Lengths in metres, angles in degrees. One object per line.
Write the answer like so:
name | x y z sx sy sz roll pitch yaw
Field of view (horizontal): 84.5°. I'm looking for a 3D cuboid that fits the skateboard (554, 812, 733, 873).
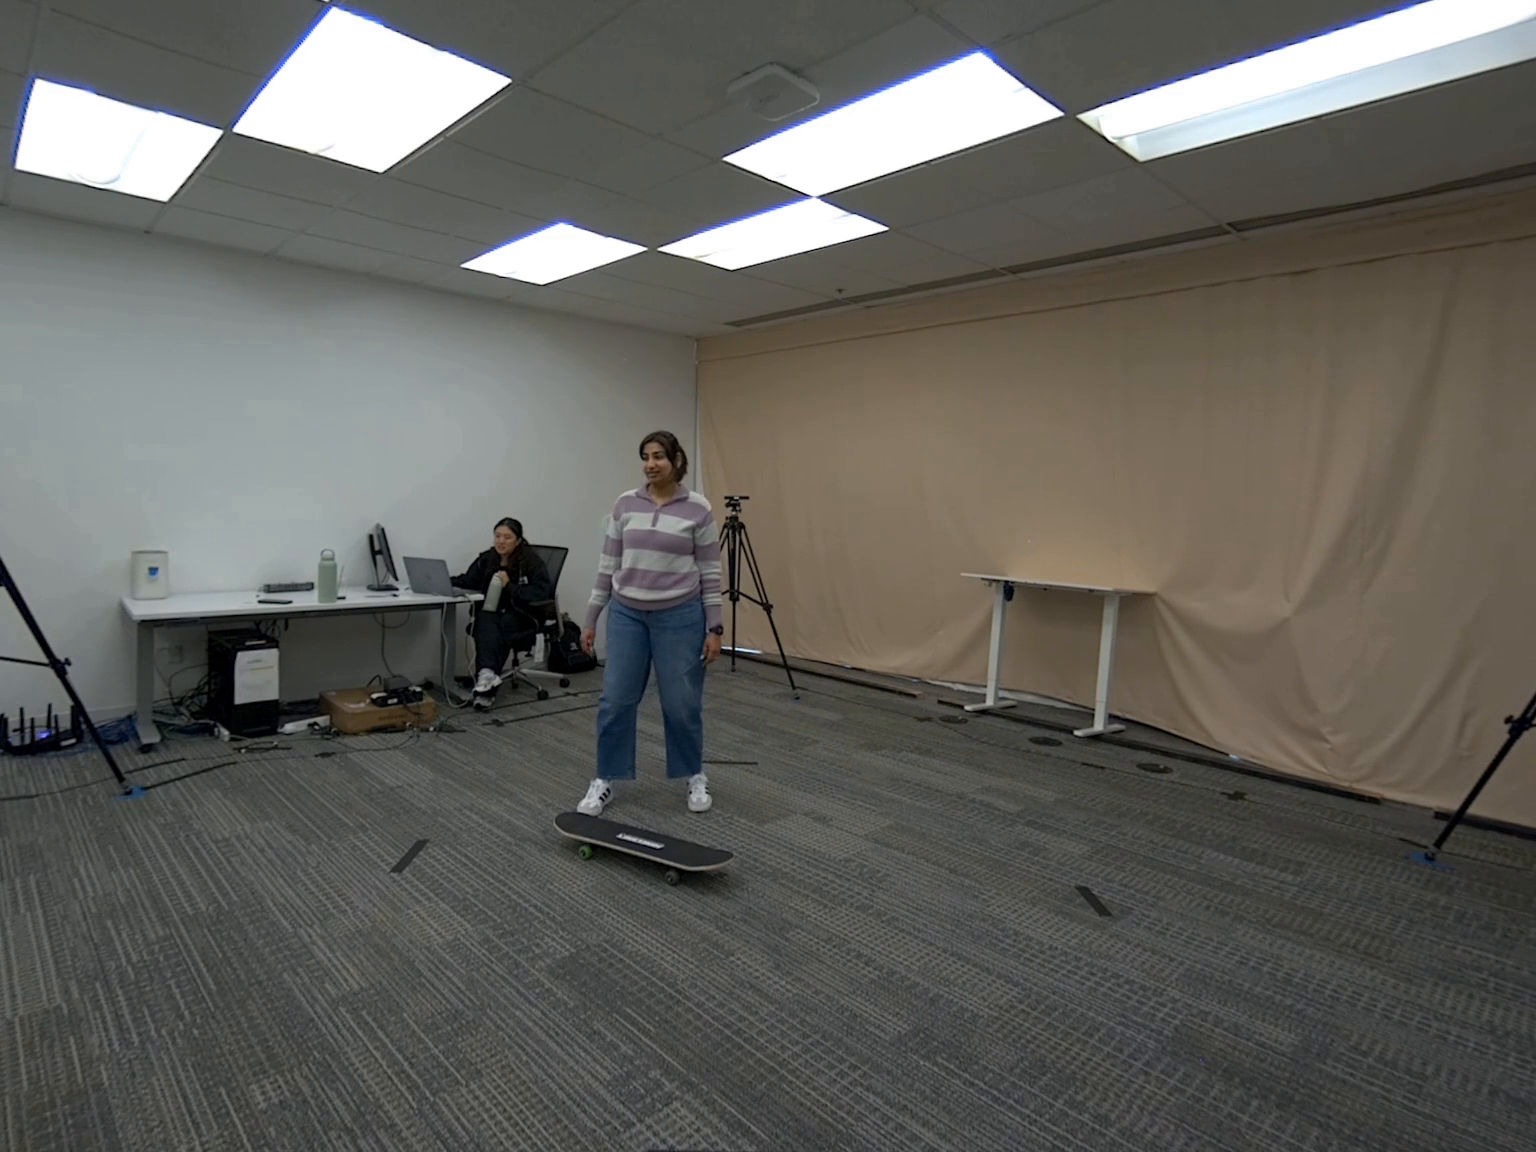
skateboard | -0.493 1.036 3.182 0.802 0.110 0.190 4 5 28
